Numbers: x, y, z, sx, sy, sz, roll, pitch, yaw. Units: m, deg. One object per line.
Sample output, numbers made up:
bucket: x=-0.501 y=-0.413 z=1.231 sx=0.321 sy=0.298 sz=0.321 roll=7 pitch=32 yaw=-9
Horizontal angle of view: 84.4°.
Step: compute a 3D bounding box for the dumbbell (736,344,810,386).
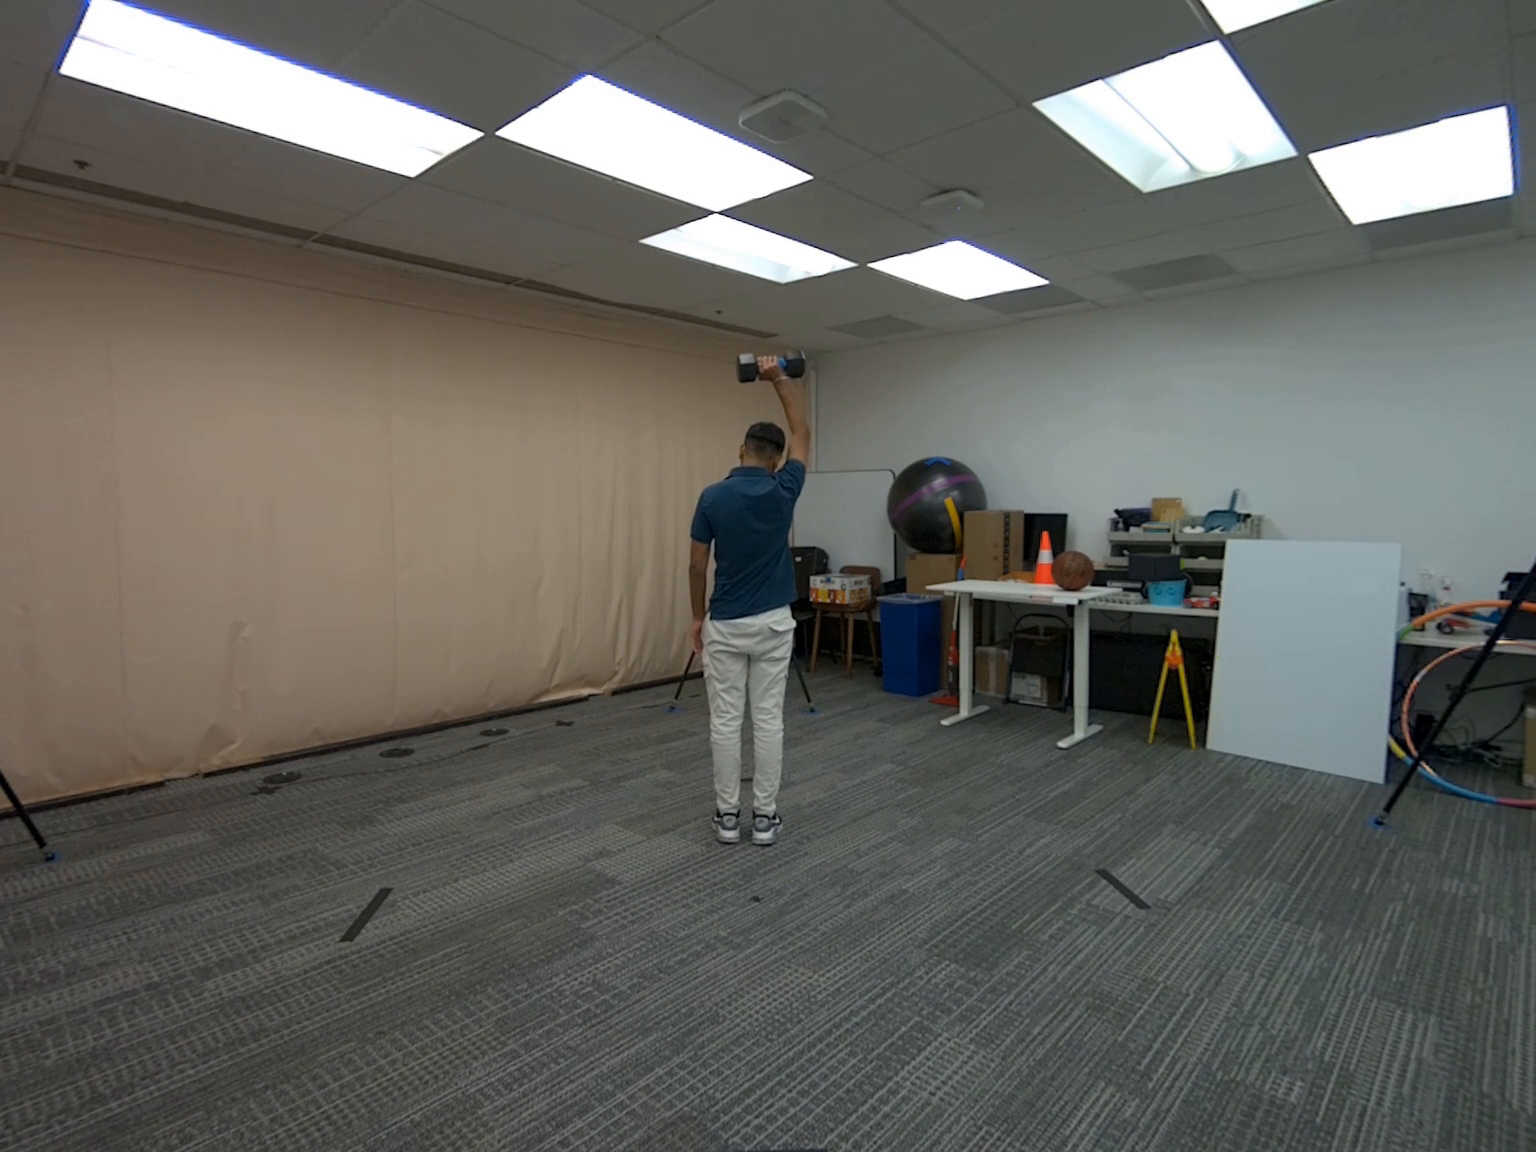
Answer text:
dumbbell: x=0.016 y=-0.910 z=3.654 sx=0.292 sy=0.109 sz=0.123 roll=-6 pitch=-7 yaw=-4
